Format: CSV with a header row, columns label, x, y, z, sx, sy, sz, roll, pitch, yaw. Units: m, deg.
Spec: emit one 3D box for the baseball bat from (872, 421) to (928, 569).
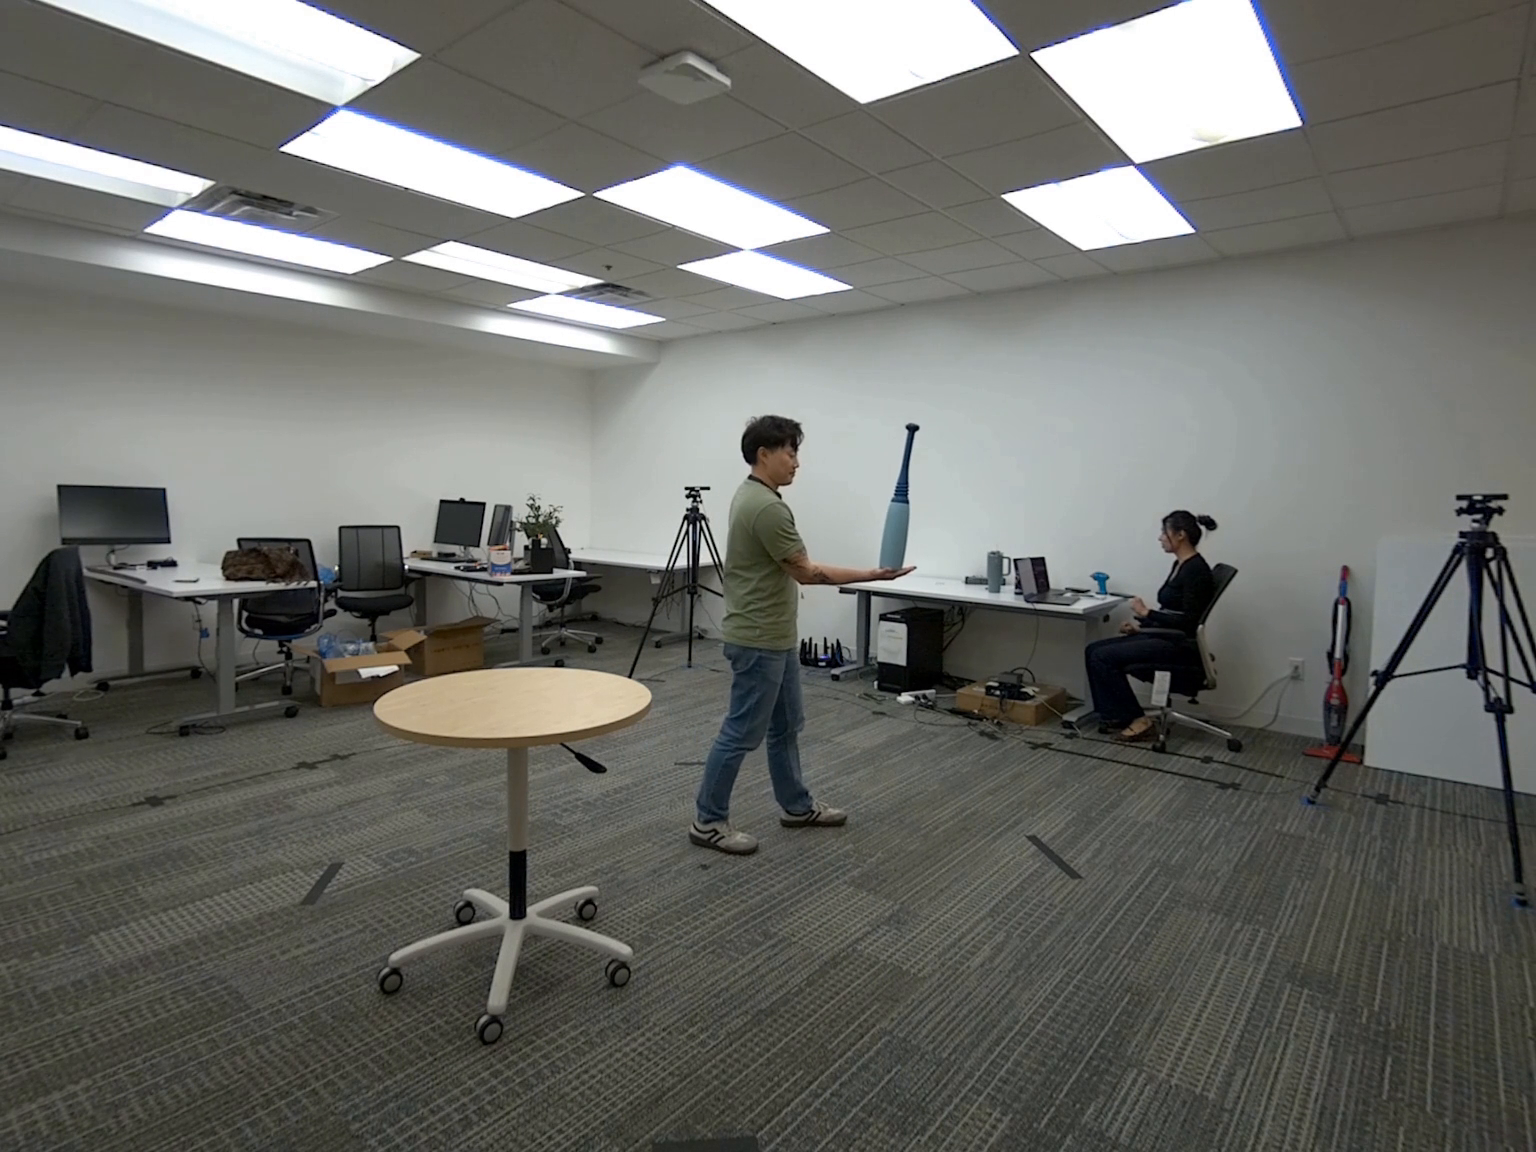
label,x,y,z,sx,sy,sz,roll,pitch,yaw
baseball bat,0.480,-0.286,3.076,0.089,0.543,0.089,10,1,-2
